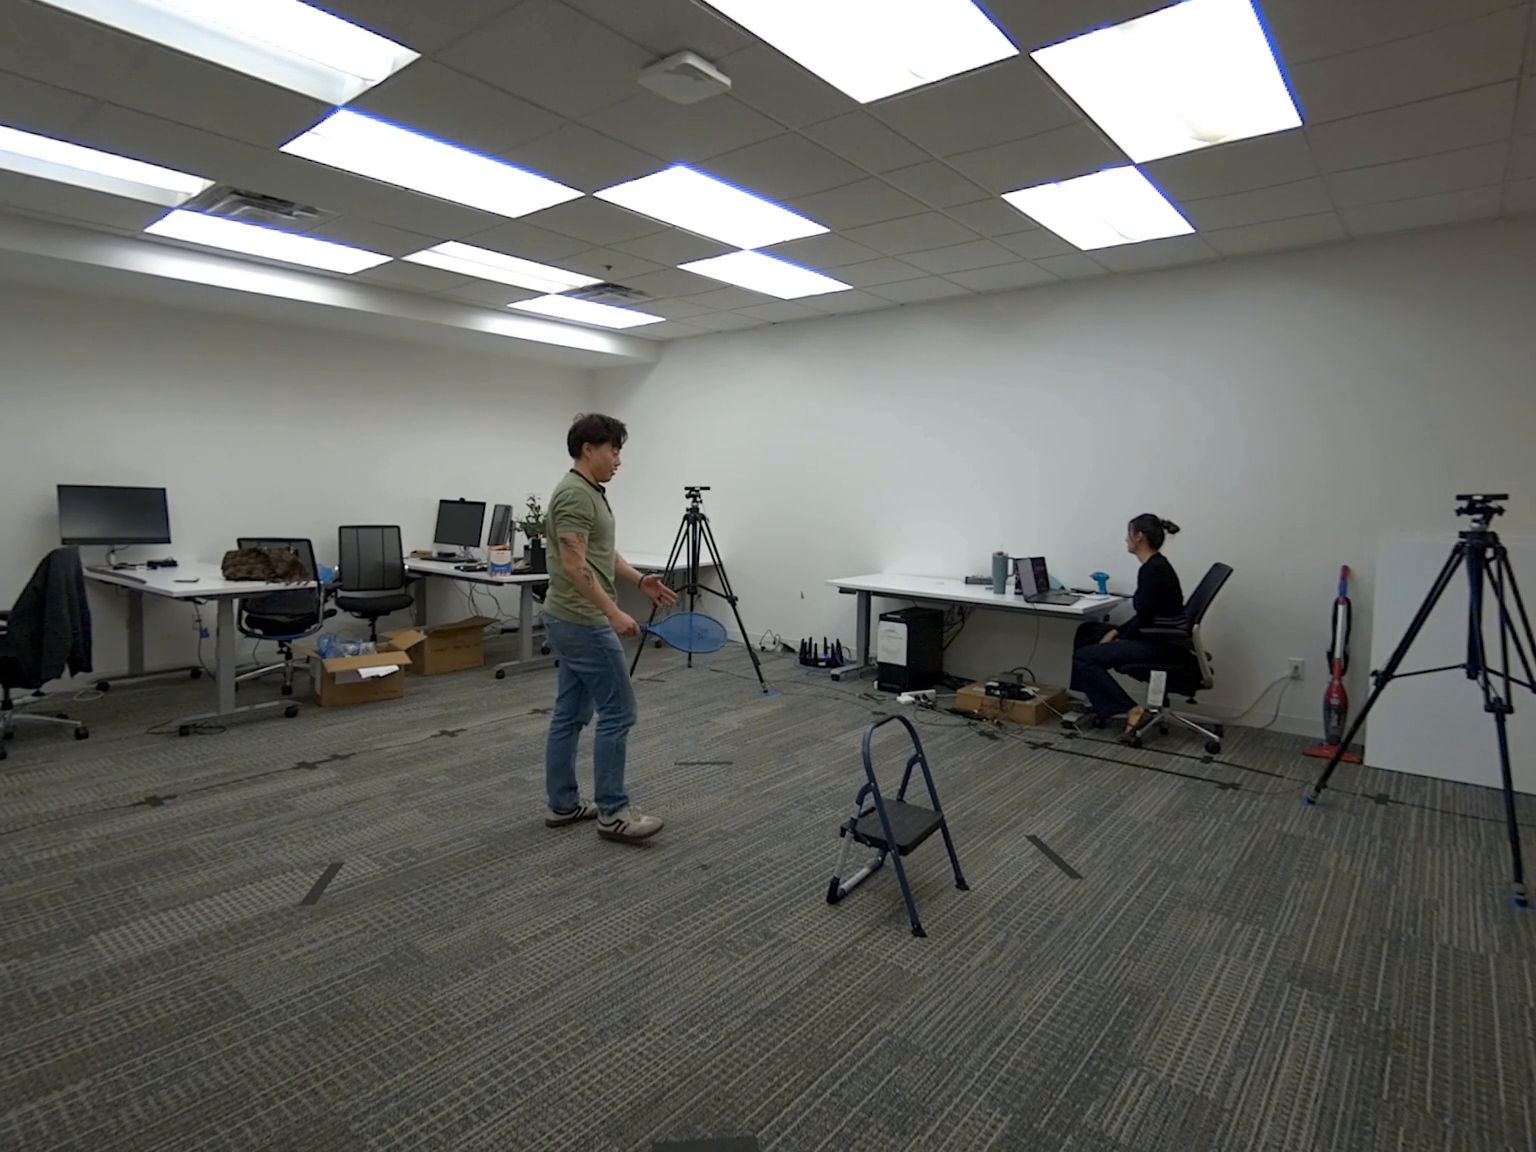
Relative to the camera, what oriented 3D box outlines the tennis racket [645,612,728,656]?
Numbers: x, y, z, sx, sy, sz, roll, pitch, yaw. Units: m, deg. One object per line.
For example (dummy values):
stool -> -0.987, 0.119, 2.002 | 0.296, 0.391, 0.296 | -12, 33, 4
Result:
tennis racket -> -0.392, 0.228, 3.270 | 0.428, 0.031, 0.221 | 3, 39, -10
